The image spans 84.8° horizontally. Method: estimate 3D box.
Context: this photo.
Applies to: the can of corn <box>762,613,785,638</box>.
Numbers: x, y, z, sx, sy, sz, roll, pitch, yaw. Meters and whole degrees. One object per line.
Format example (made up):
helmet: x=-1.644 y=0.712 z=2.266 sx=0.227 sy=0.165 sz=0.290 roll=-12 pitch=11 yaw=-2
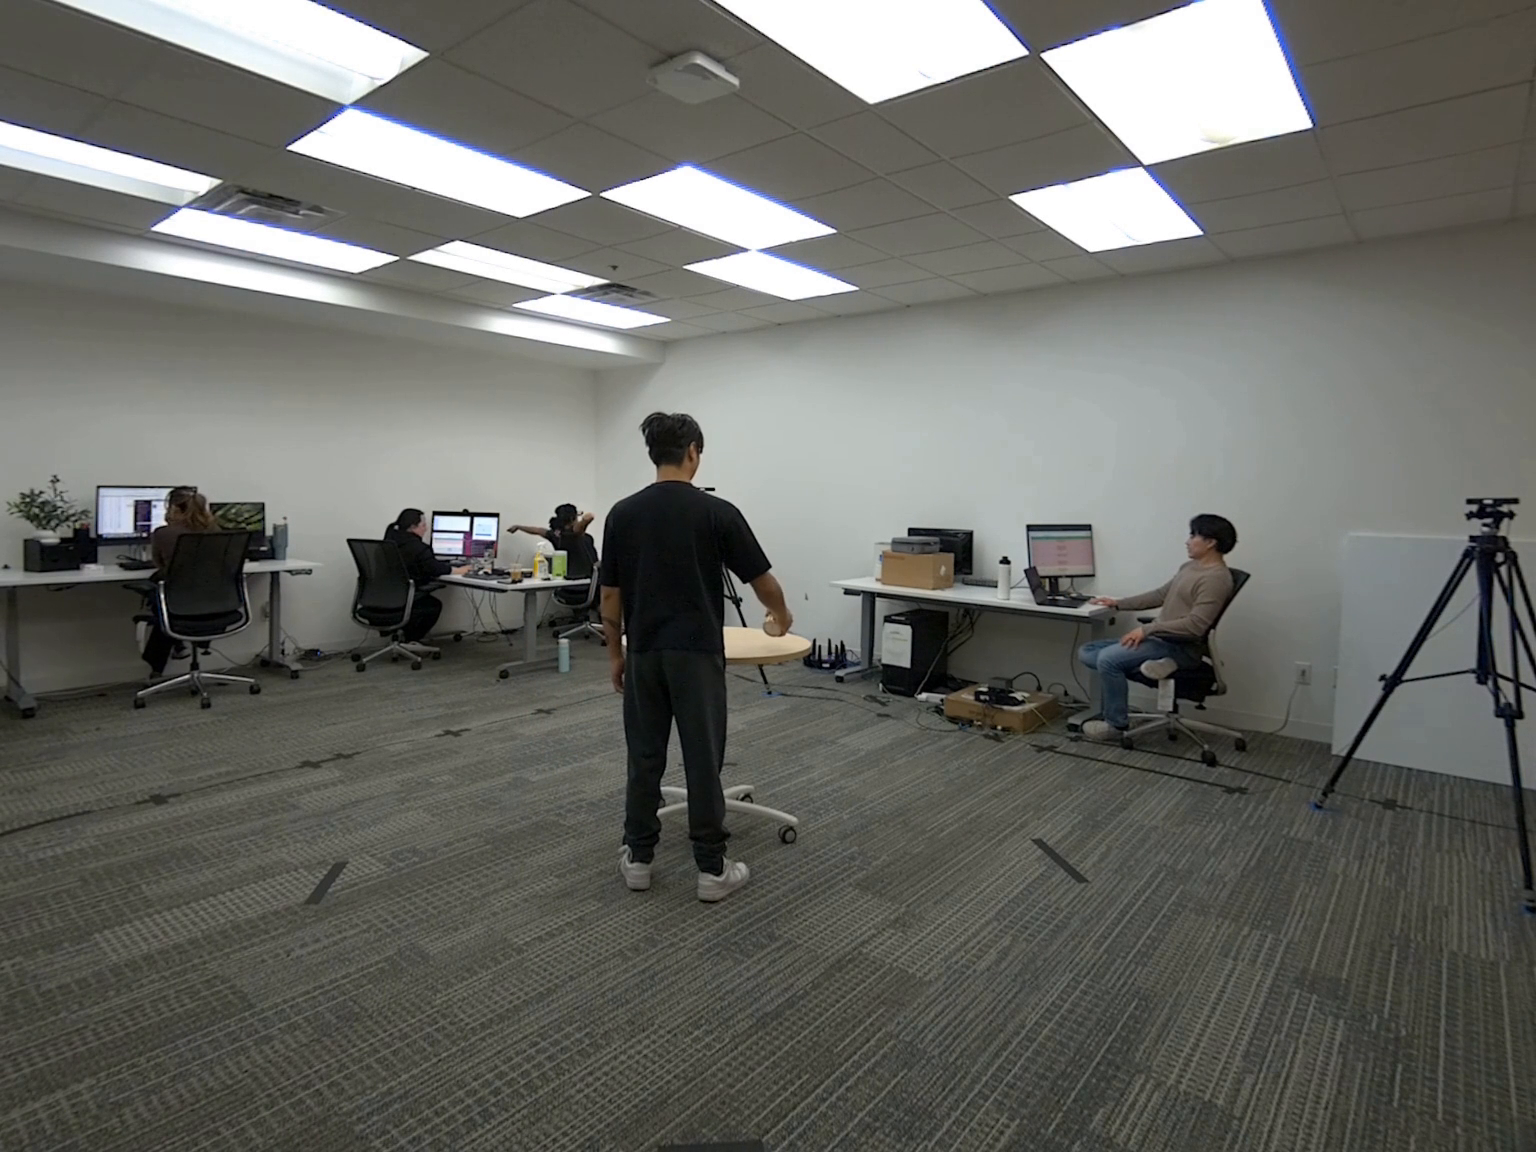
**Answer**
can of corn: x=-0.007 y=0.158 z=3.251 sx=0.074 sy=0.072 sz=0.114 roll=1 pitch=30 yaw=0
